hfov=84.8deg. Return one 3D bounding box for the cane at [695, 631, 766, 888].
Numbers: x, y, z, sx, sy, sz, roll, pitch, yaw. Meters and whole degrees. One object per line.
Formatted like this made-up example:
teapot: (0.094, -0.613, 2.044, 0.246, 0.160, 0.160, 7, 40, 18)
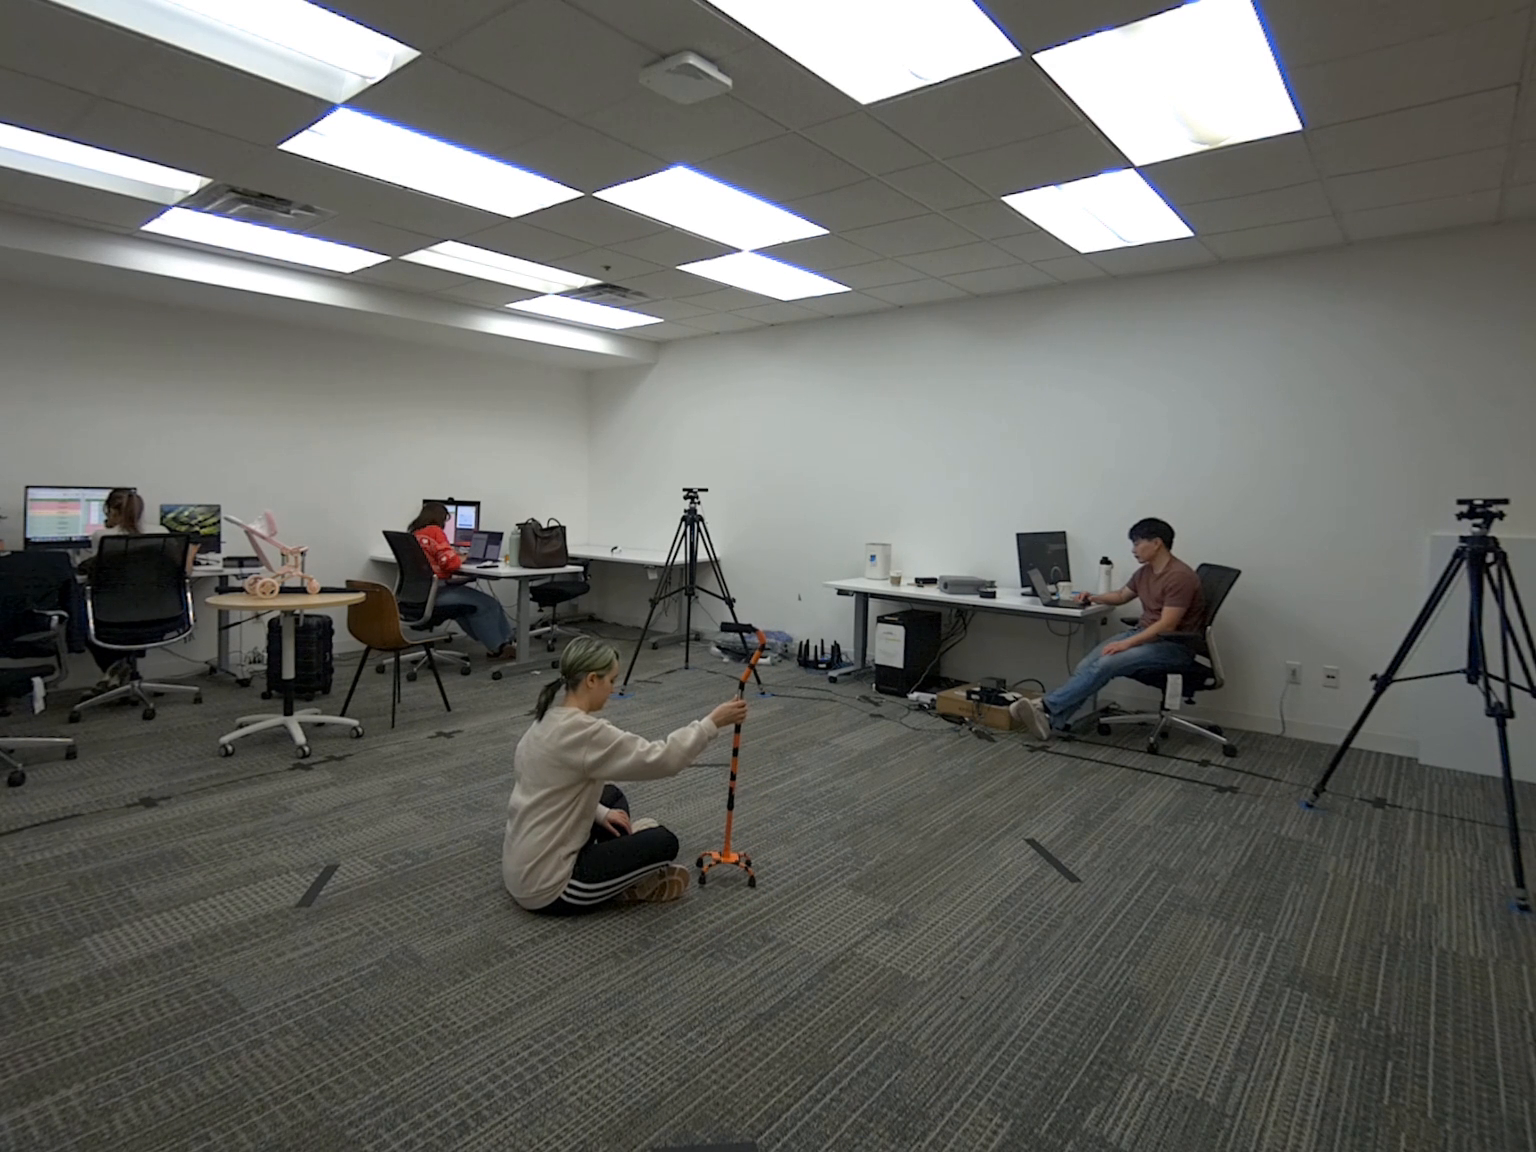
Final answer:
cane: (-0.116, 0.622, 2.998, 0.205, 0.904, 0.153, 4, 5, -7)
